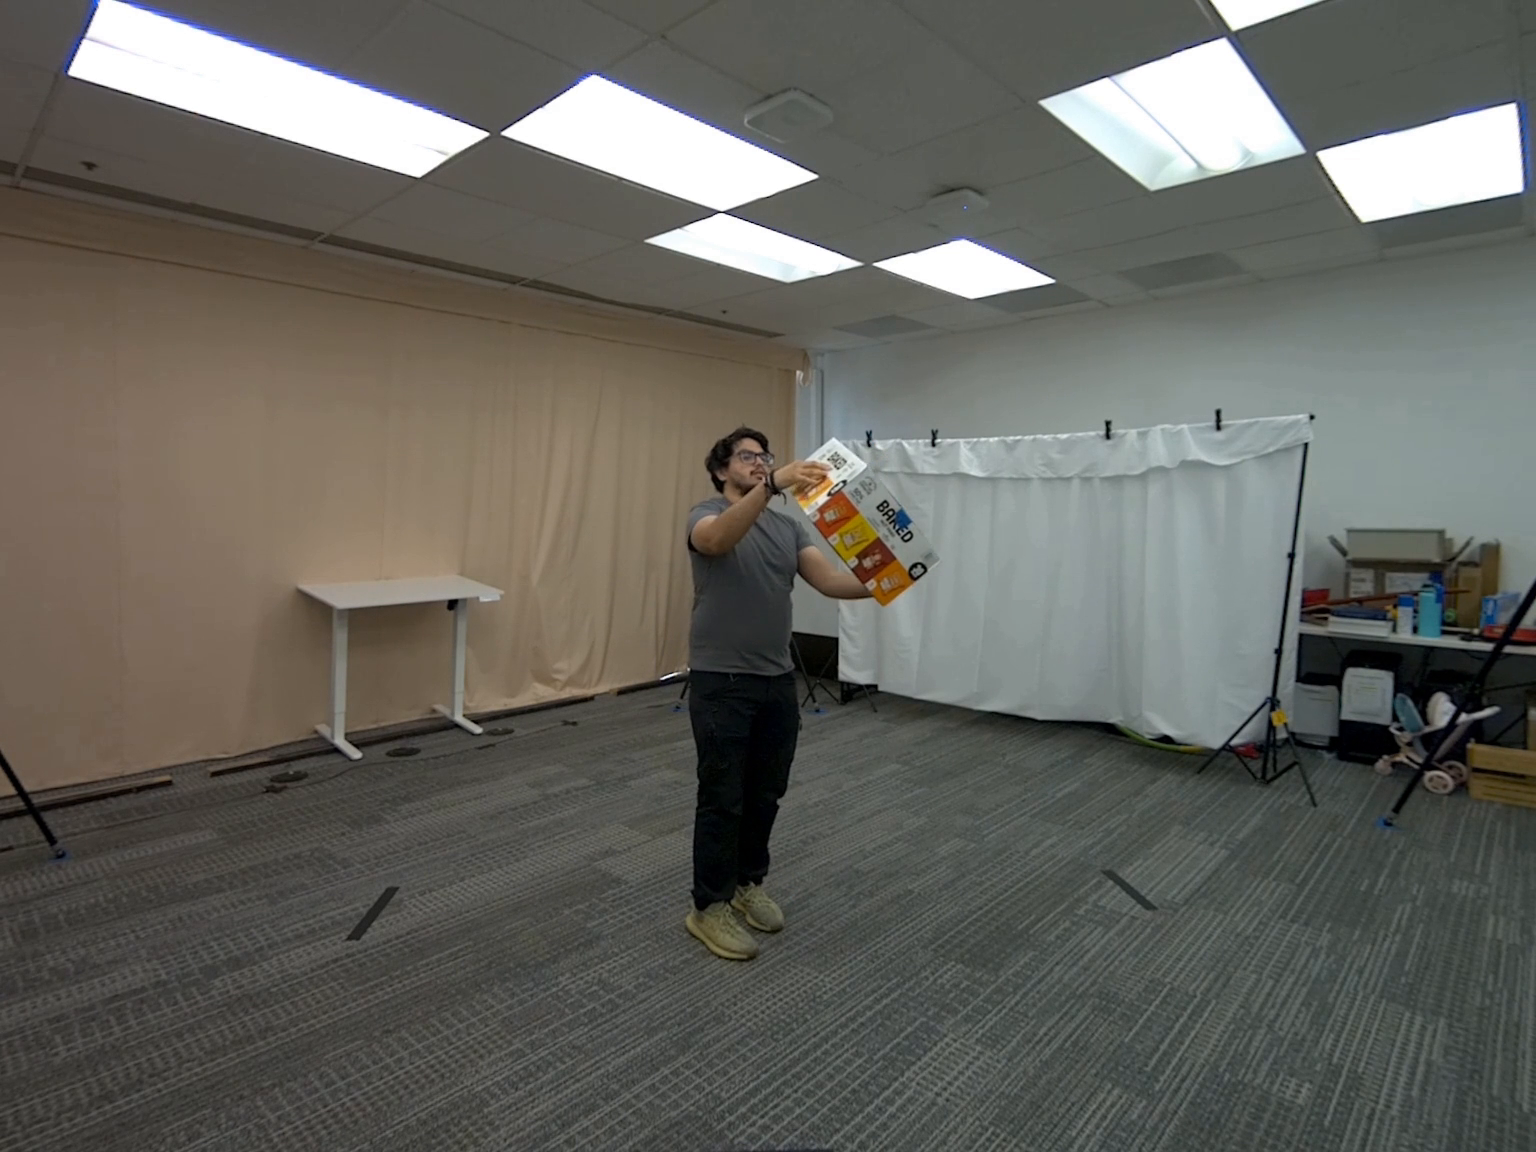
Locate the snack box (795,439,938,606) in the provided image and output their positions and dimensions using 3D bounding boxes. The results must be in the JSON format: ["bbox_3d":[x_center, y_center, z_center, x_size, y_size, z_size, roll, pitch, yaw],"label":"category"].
[{"bbox_3d":[0.262,-0.167,2.374,0.206,0.333,0.413,-39,19,4],"label":"snack box"}]
